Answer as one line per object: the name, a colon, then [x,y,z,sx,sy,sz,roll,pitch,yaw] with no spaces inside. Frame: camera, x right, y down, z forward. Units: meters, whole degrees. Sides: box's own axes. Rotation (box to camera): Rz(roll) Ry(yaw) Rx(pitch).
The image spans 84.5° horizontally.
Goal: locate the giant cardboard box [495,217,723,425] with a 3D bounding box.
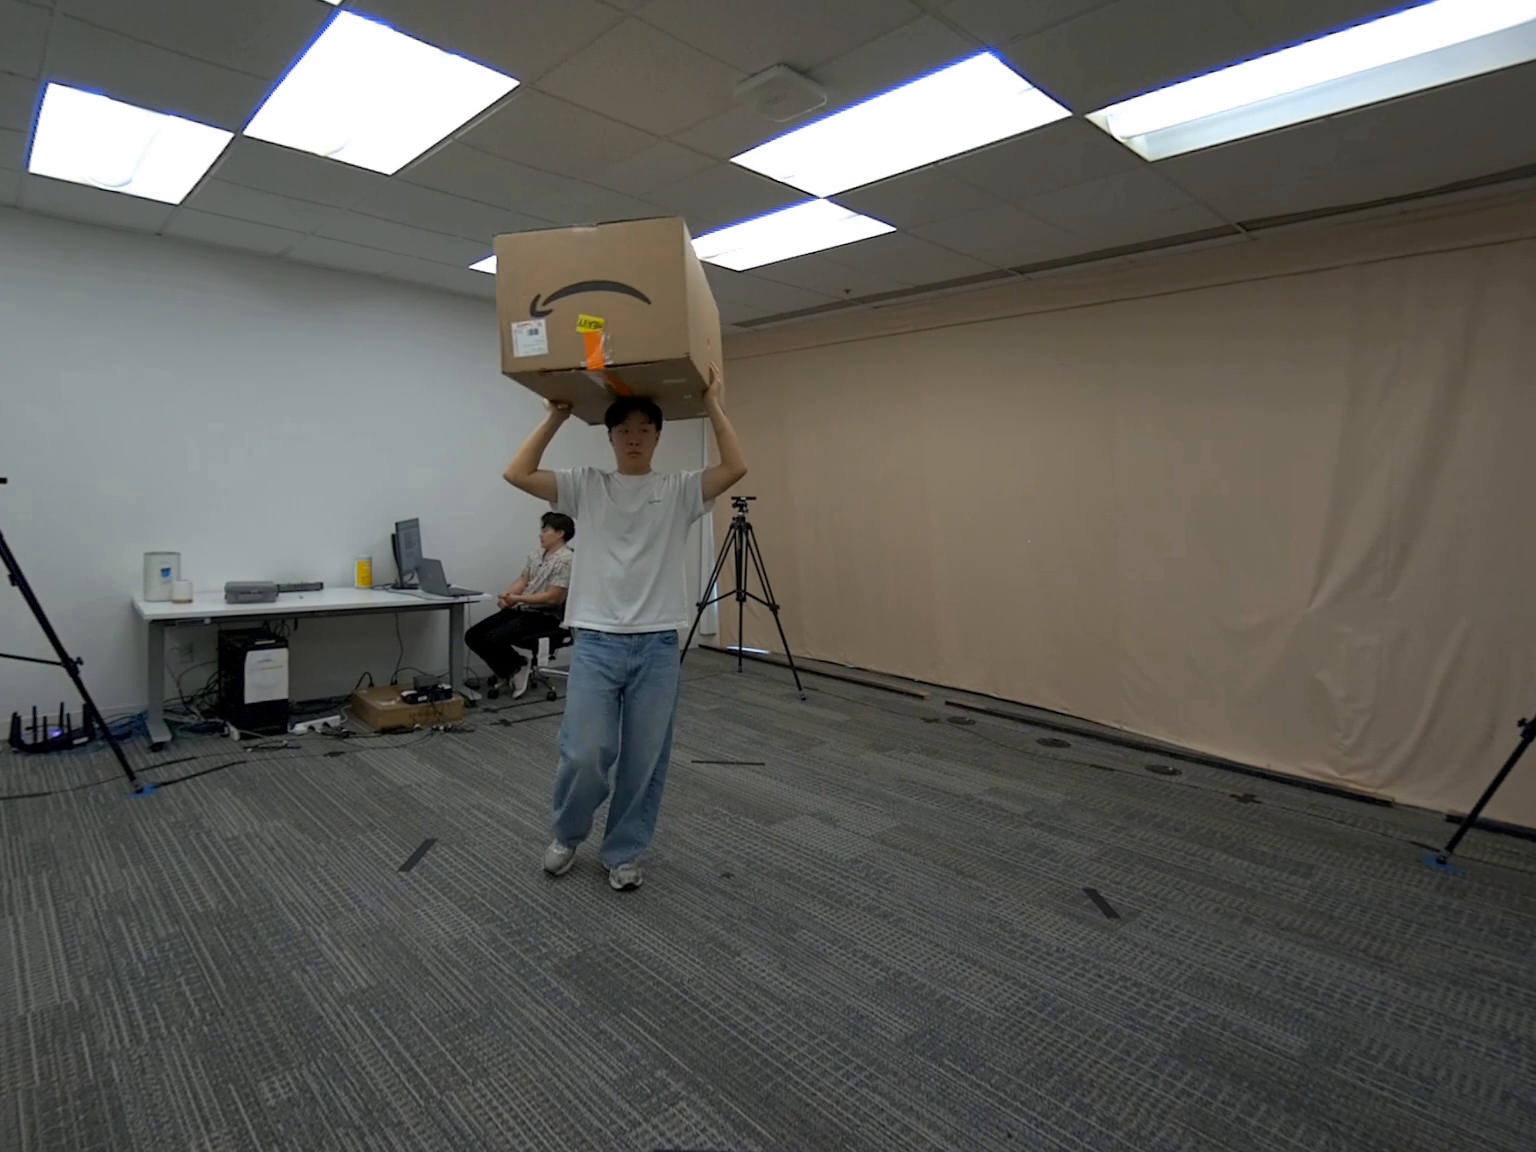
giant cardboard box: [-0.506,-0.834,2.978,0.579,0.426,1.022,-4,1,4]
